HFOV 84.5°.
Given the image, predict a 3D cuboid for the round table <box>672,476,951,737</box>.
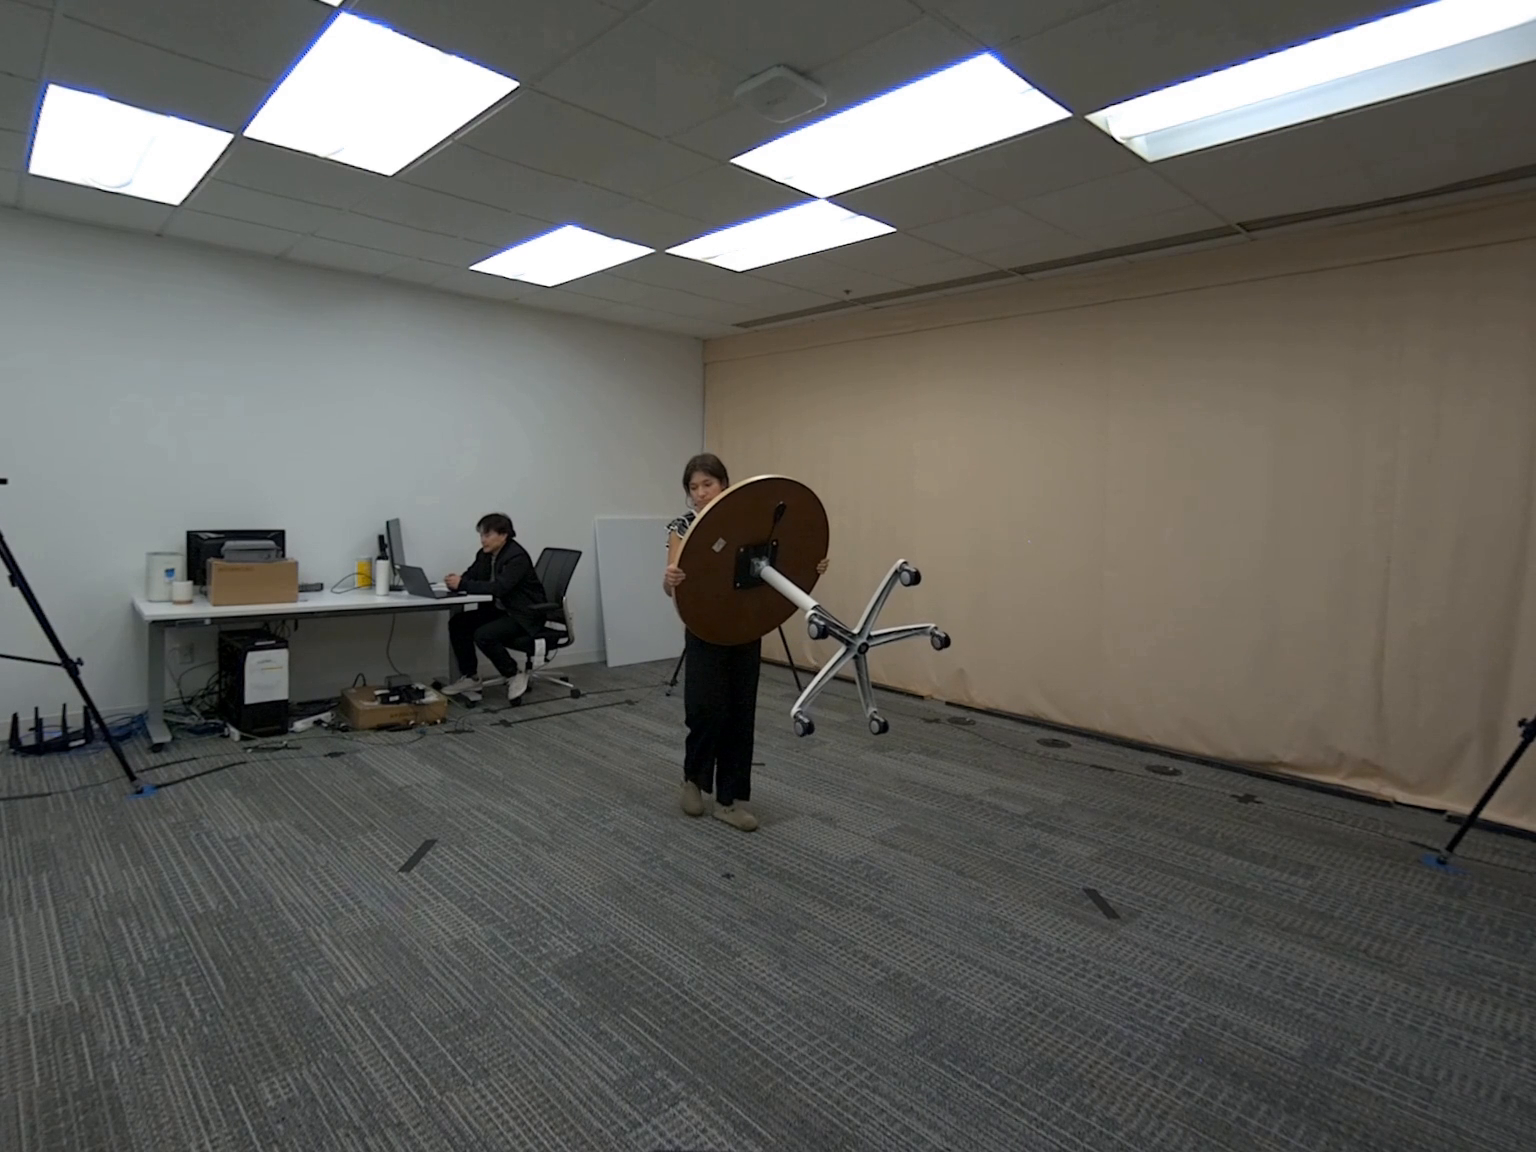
[{"bbox_3d":[0.147,0.130,3.195,0.747,0.756,0.820,-2,27,-37],"label":"round table"}]
